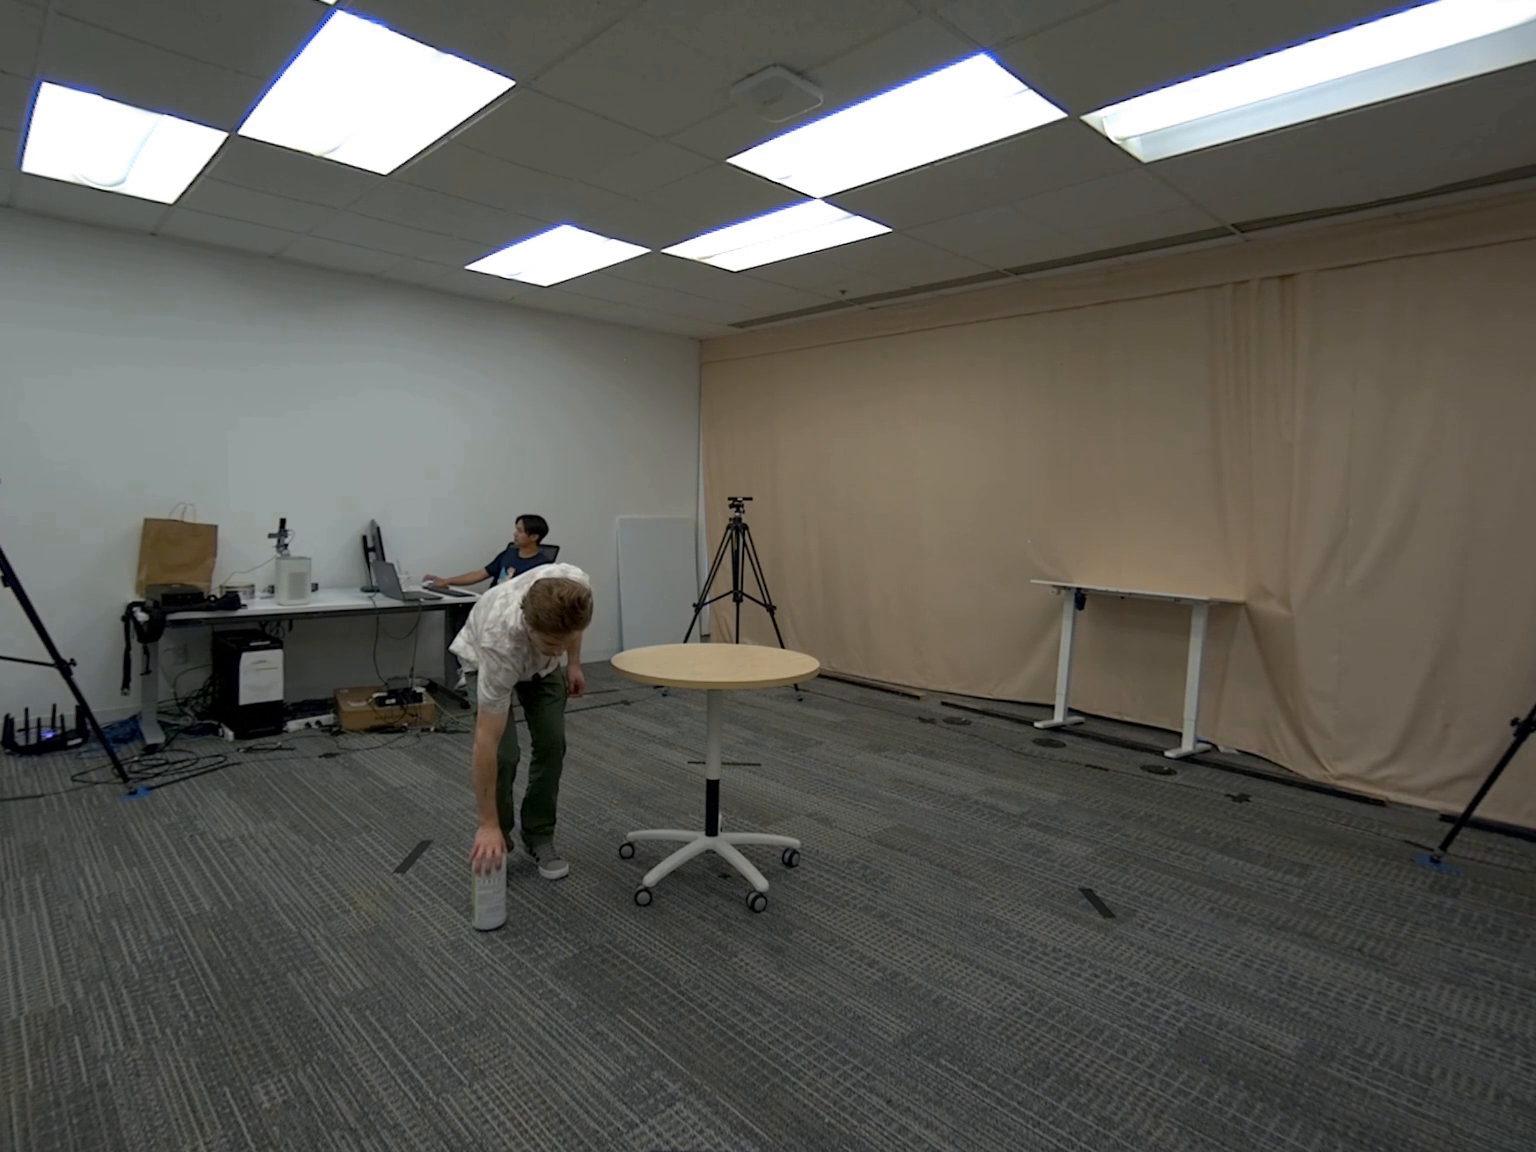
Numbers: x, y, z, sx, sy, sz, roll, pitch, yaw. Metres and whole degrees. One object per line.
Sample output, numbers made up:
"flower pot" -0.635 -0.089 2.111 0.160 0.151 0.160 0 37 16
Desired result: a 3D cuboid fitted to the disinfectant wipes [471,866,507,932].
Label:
"disinfectant wipes" -0.909 1.018 2.703 0.118 0.217 0.118 1 3 -1
